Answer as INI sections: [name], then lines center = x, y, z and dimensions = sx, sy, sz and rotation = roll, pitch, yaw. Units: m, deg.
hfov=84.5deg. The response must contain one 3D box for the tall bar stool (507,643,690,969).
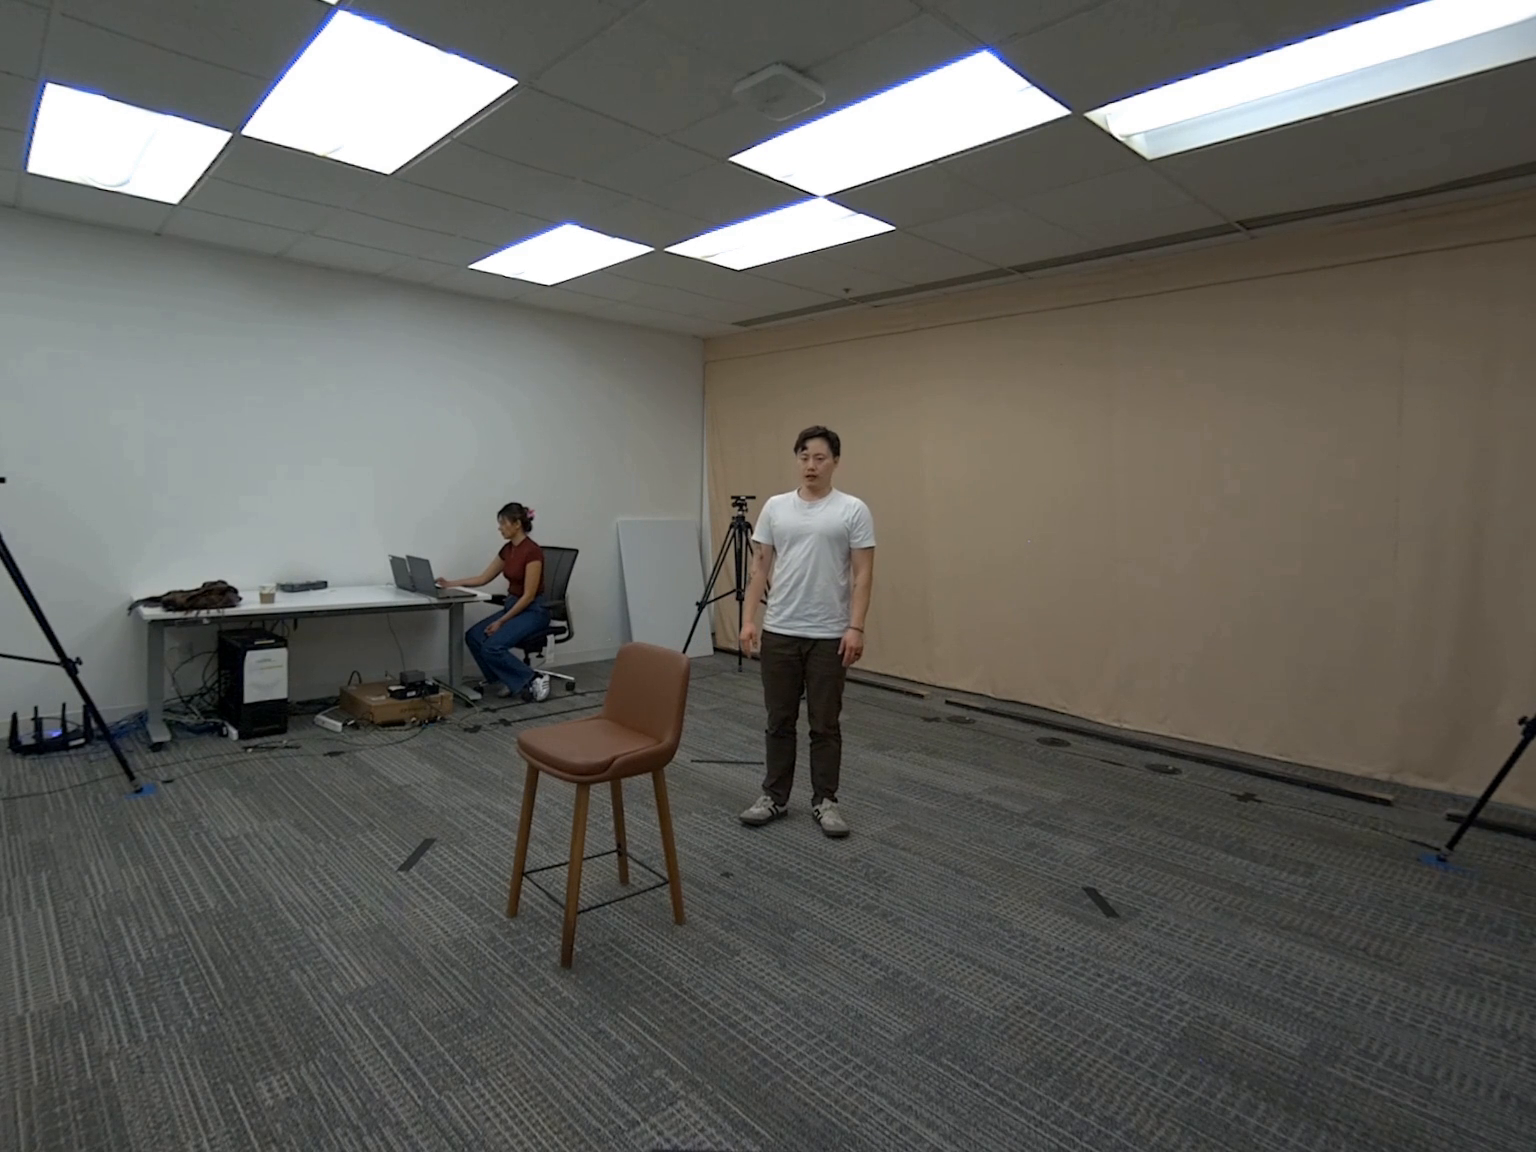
[tall bar stool]
center = -0.553, 0.697, 2.727
dimensions = 0.457, 0.888, 0.468
rotation = 0, 3, -40
